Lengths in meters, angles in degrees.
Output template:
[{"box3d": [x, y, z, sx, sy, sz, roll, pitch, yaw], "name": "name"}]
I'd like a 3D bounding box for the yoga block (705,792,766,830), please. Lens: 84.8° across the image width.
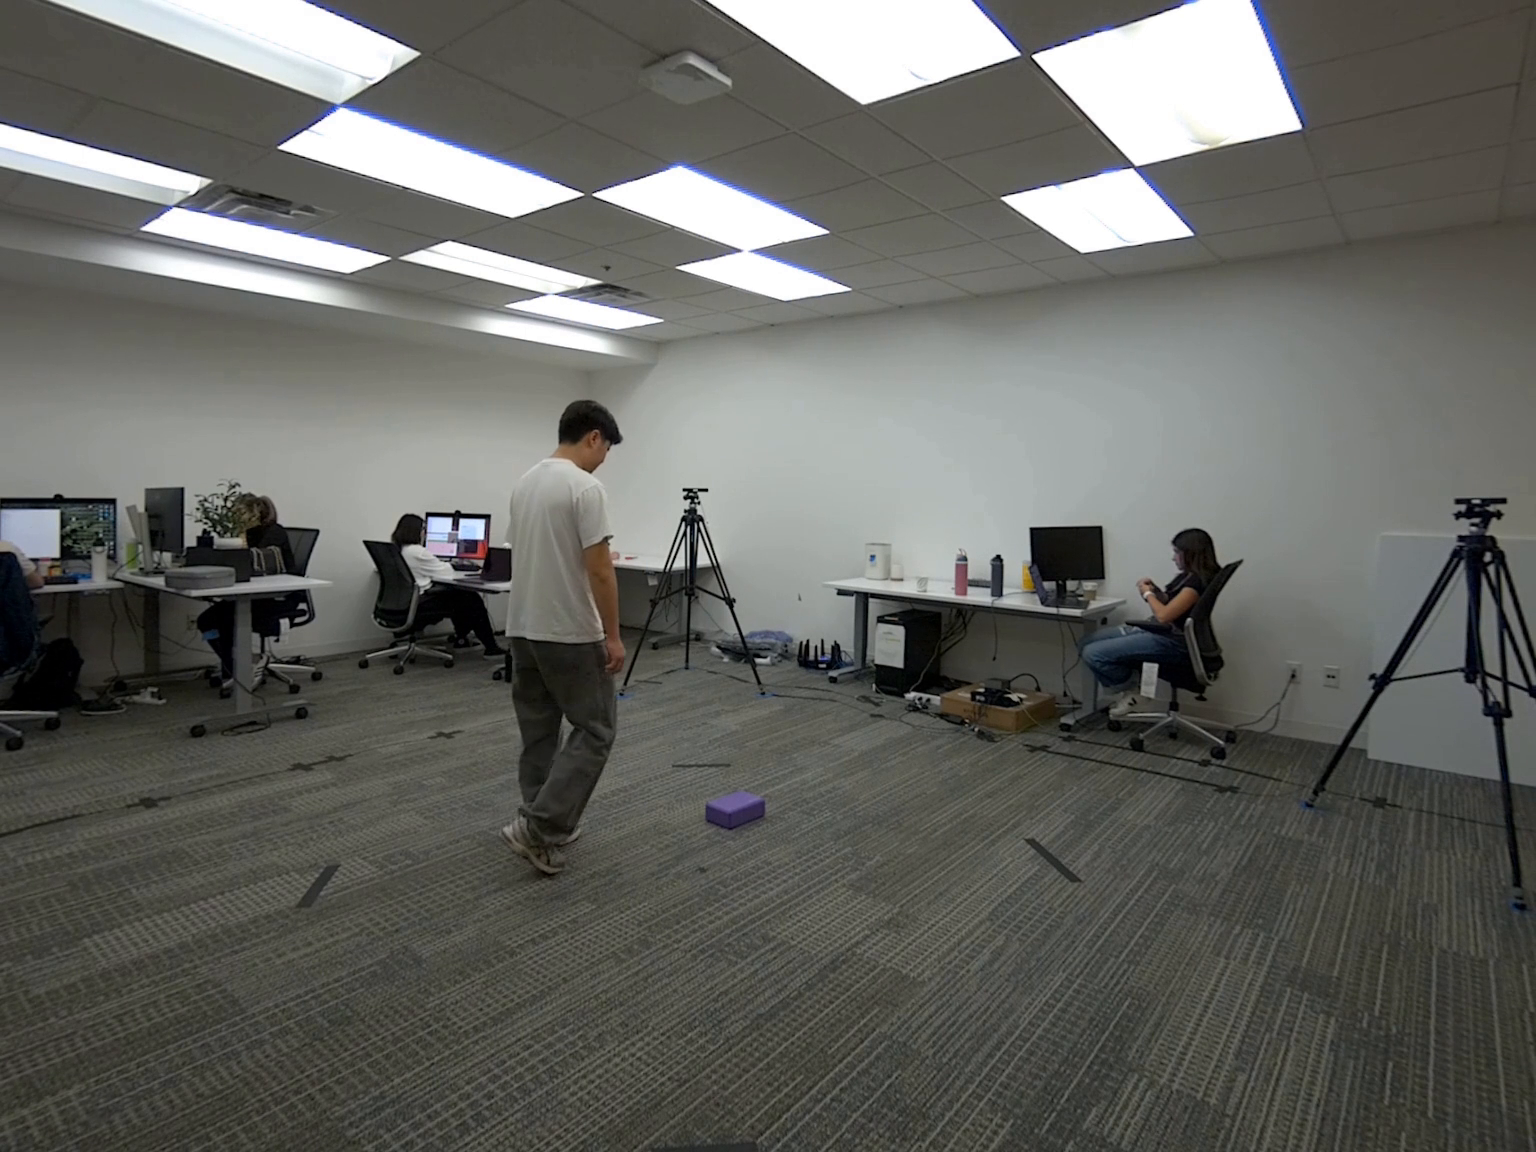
[{"box3d": [-0.136, 0.979, 3.605, 0.154, 0.076, 0.222, 5, 7, 41], "name": "yoga block"}]
